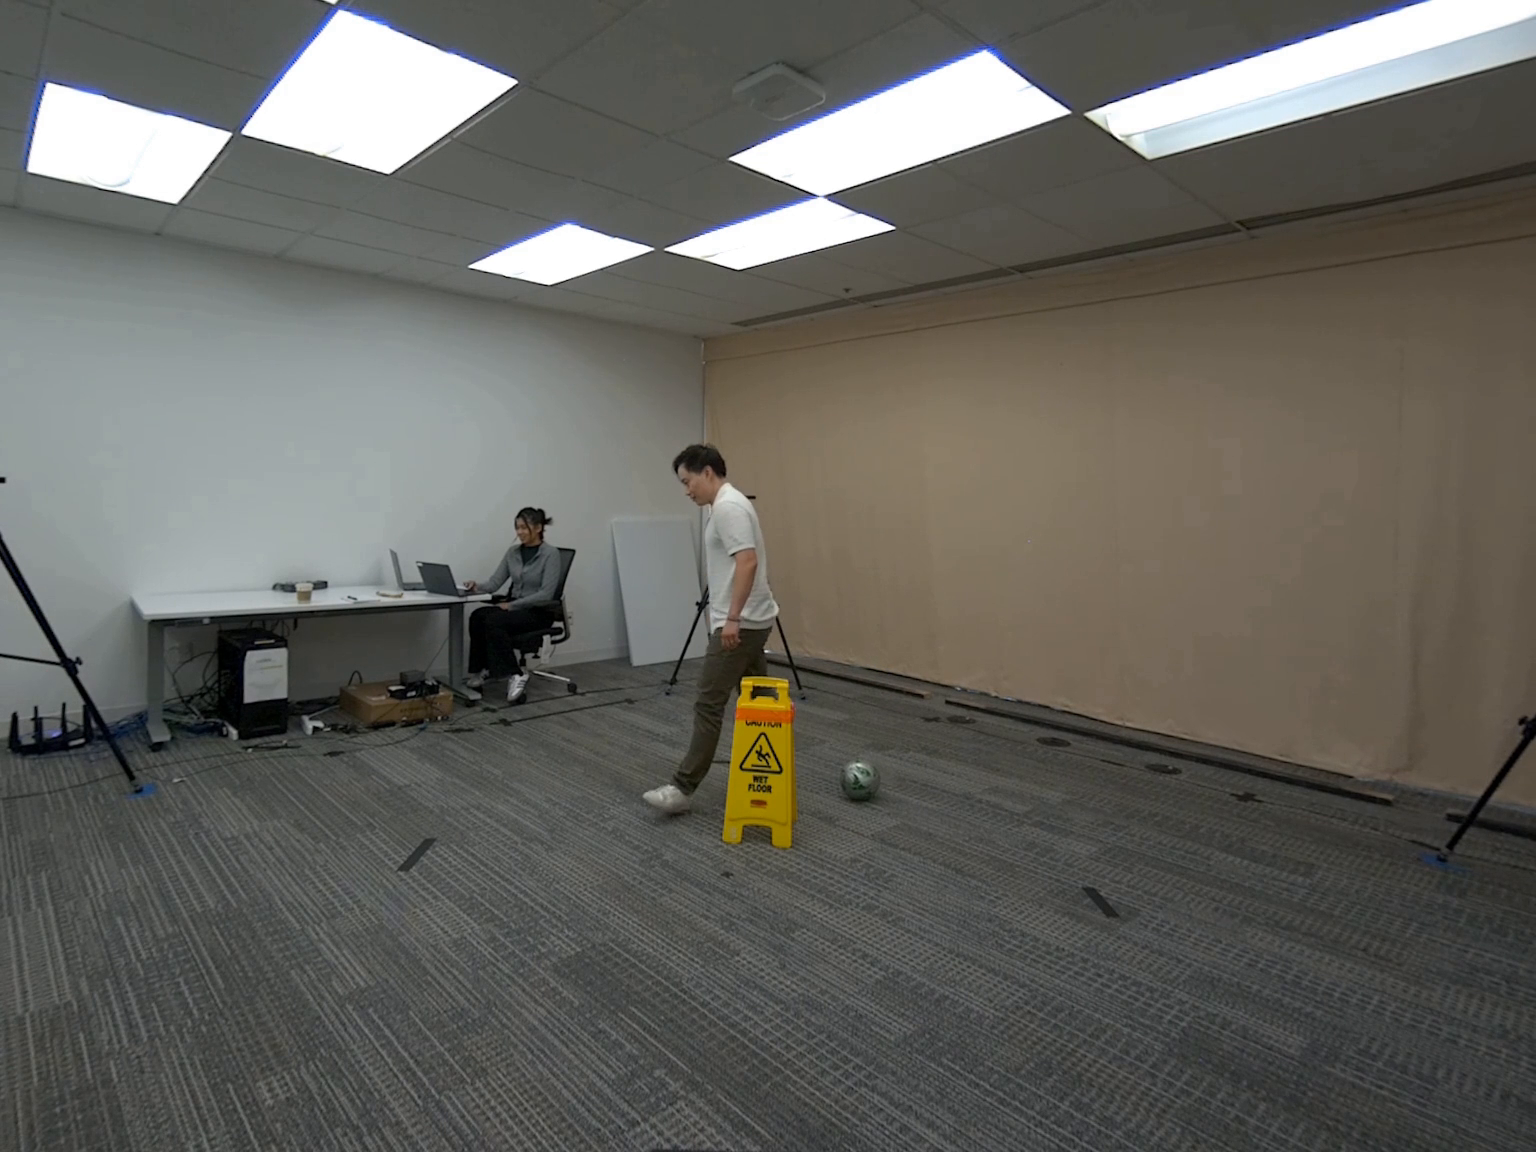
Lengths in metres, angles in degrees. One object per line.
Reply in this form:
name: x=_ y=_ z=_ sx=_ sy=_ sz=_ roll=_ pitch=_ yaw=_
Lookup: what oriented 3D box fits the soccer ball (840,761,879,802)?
soccer ball: x=0.413 y=0.957 z=3.933 sx=0.187 sy=0.187 sz=0.188 roll=1 pitch=4 yaw=-1
